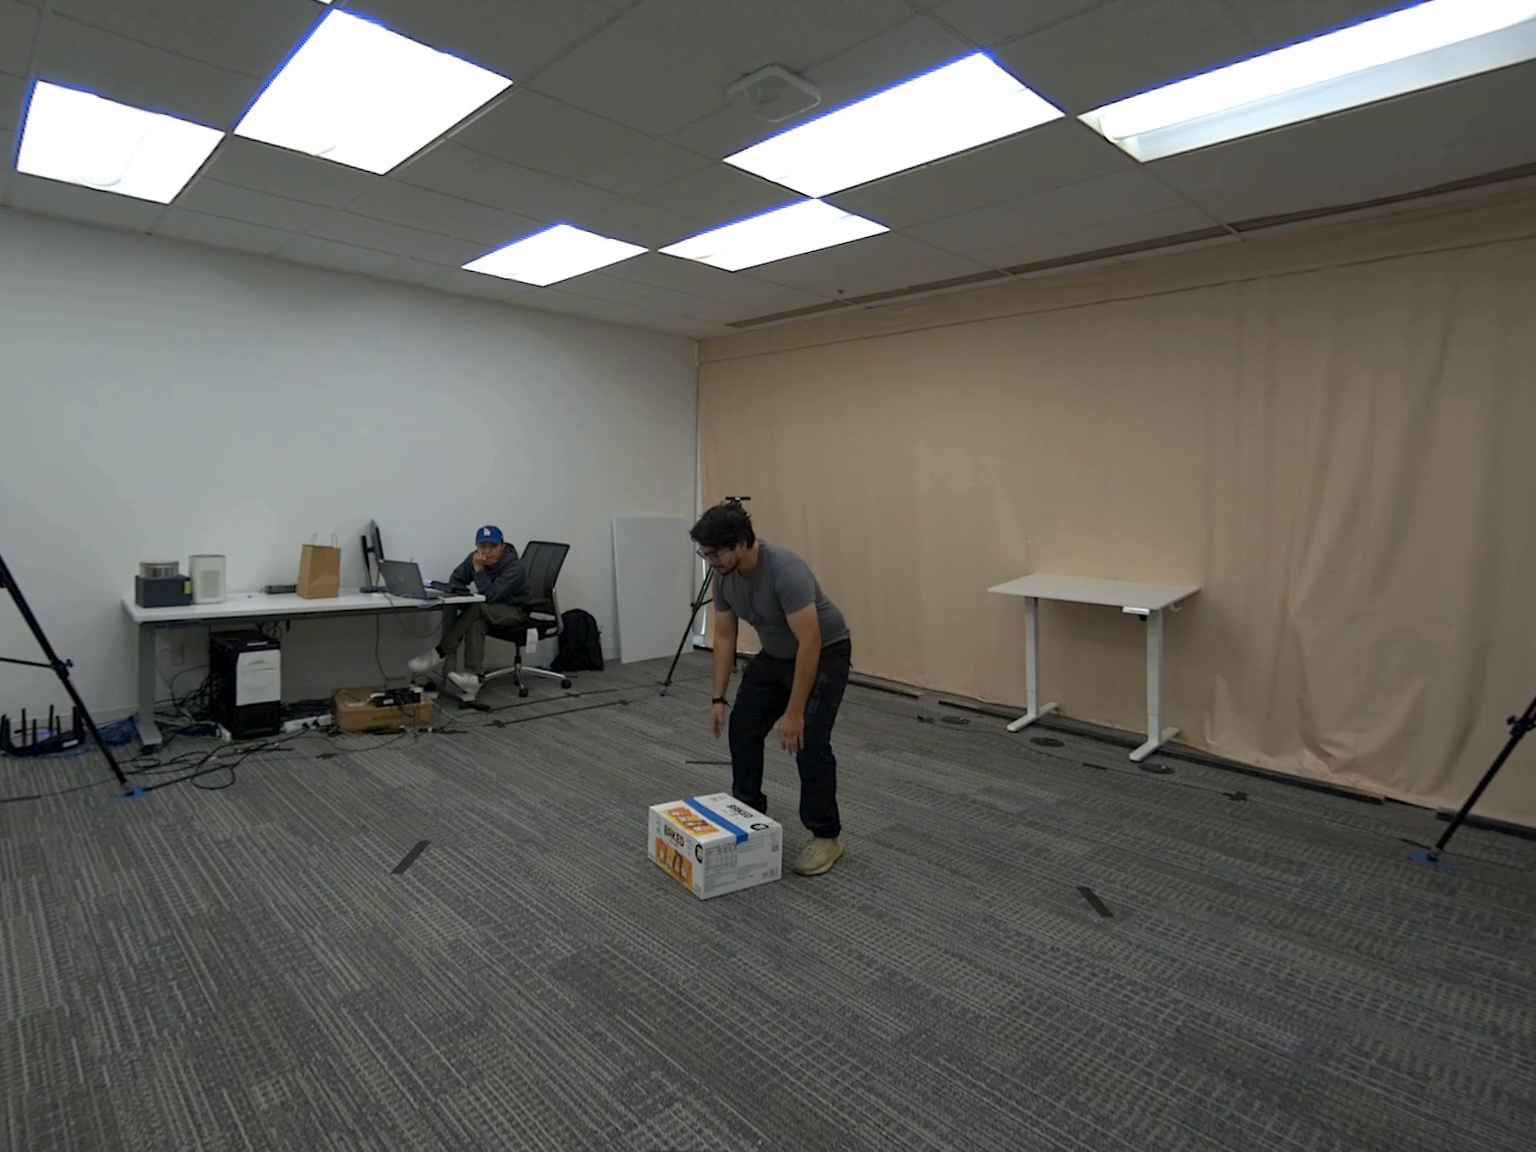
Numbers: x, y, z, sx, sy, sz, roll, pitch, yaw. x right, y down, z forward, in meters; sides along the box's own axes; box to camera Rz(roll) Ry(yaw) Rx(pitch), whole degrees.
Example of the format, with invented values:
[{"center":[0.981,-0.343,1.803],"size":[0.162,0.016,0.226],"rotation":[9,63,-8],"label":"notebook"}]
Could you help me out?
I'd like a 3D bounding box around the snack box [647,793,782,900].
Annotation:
[{"center":[-0.210,1.001,3.148],"size":[0.333,0.205,0.415],"rotation":[-2,5,-34],"label":"snack box"}]
